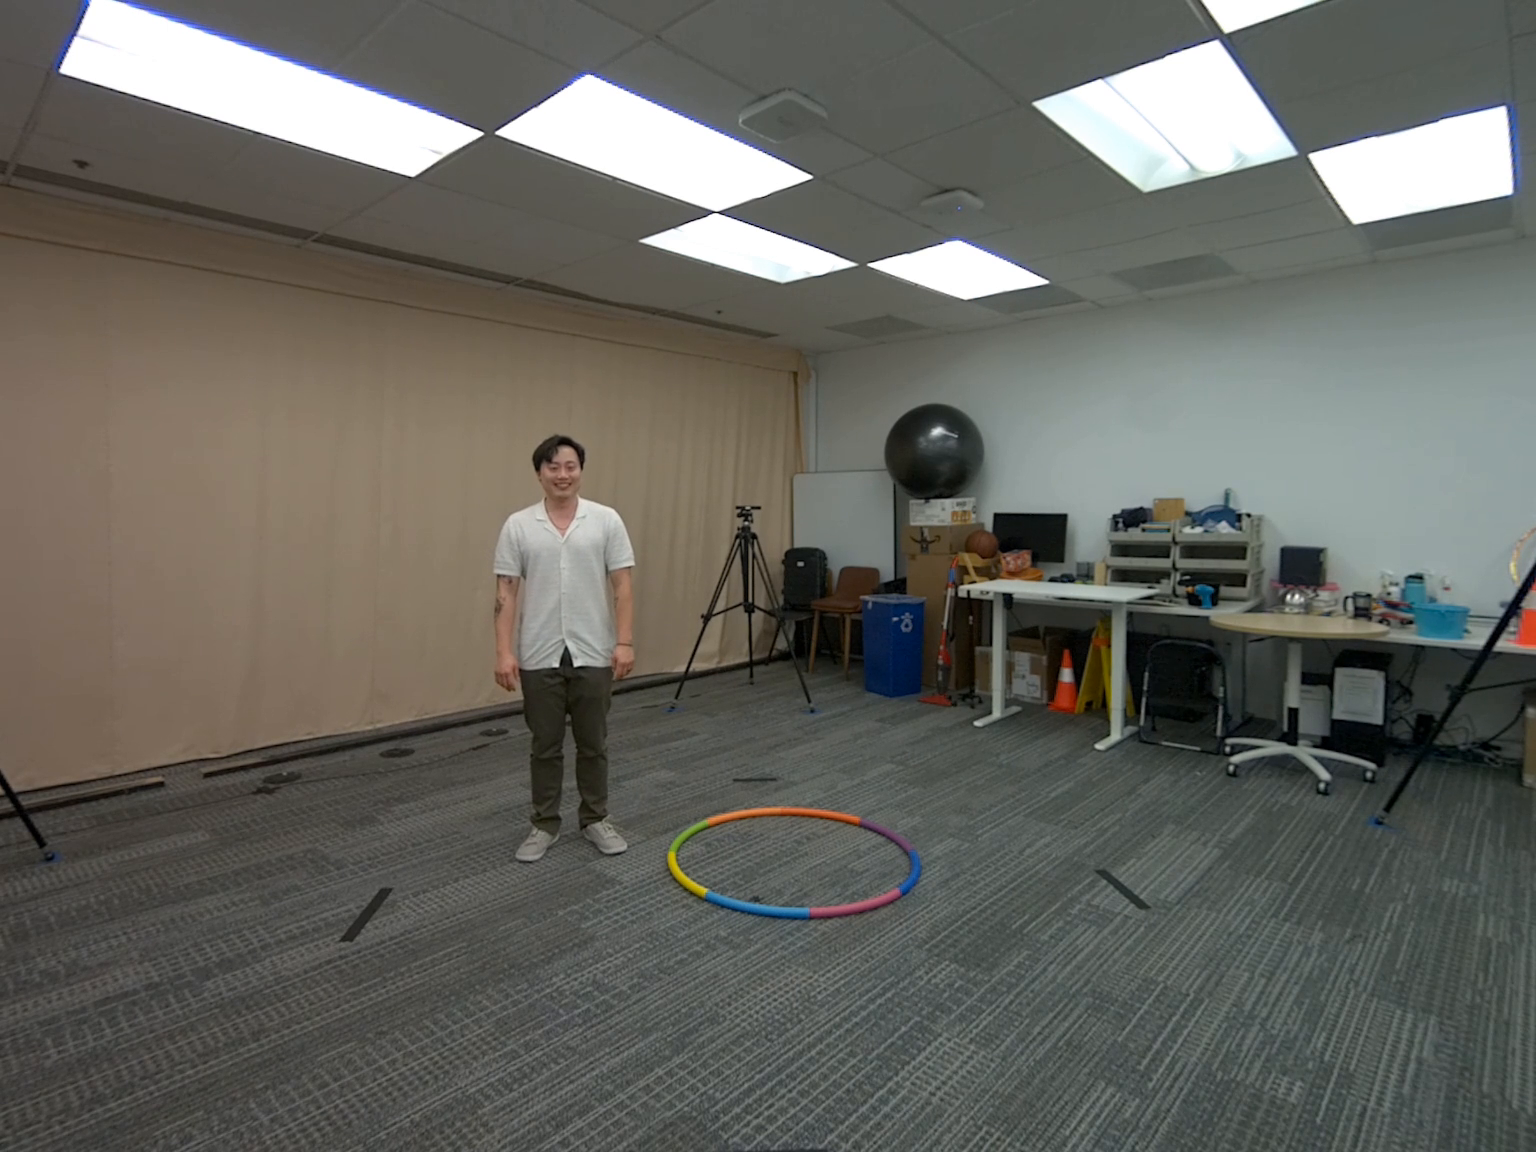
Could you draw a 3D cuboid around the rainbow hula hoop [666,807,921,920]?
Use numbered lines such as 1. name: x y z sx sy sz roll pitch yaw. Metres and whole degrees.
1. rainbow hula hoop: 0.098 1.084 3.316 0.978 0.035 0.982 0 5 -2
